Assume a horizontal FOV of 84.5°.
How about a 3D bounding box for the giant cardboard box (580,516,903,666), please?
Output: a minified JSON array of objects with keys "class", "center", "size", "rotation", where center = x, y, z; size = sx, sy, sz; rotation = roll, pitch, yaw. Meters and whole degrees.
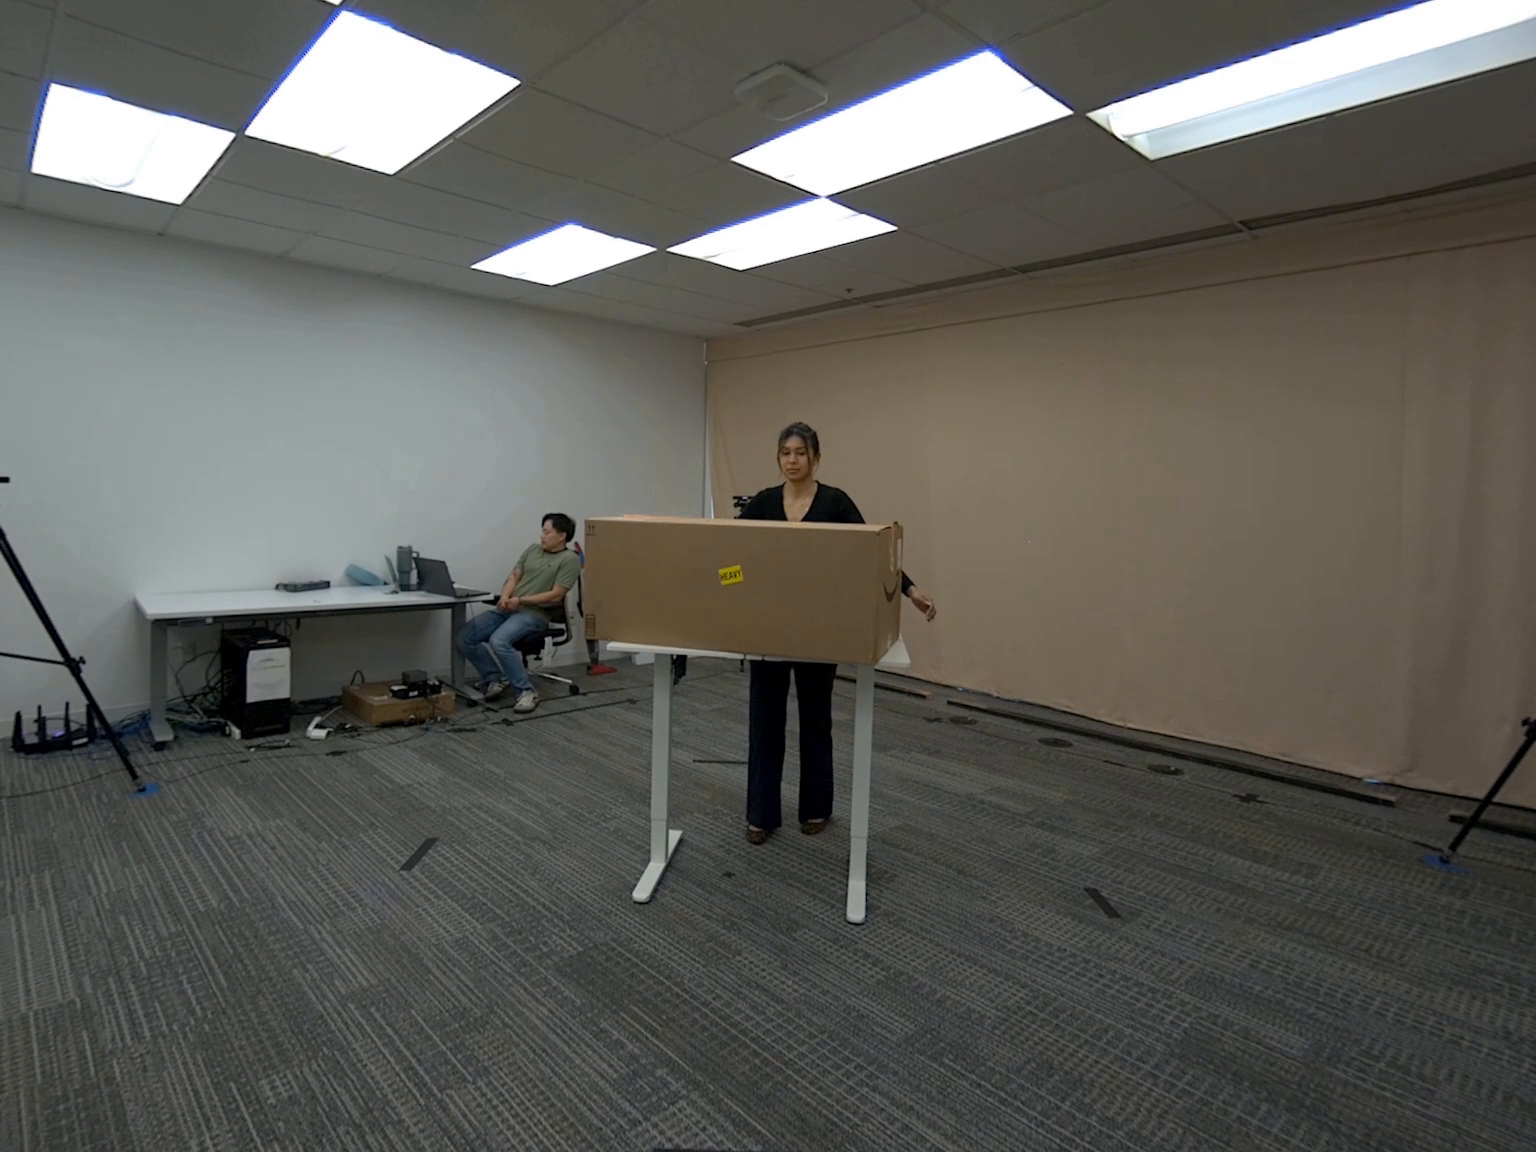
[{"class":"giant cardboard box","center":[-0.076,0.014,3.028],"size":[1.042,0.425,0.570],"rotation":[4,5,19]}]
